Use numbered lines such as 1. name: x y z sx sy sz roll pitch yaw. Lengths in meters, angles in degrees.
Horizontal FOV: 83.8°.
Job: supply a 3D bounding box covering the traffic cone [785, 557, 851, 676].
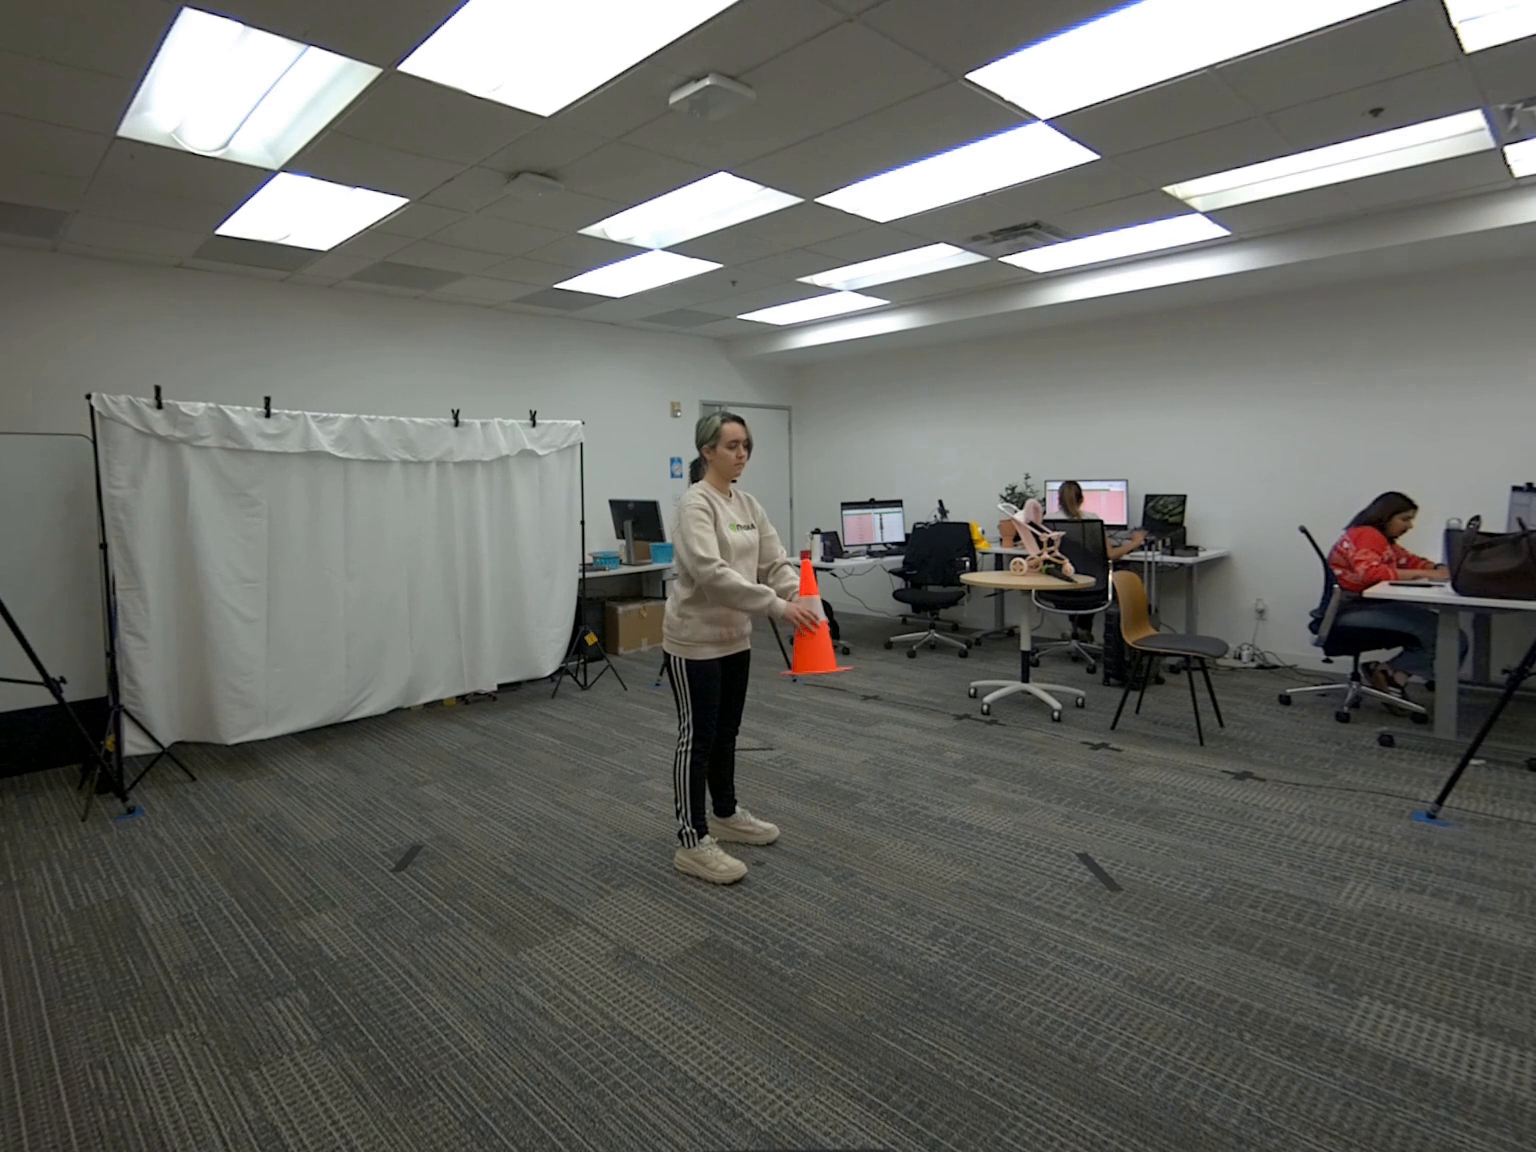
1. traffic cone: 0.136 0.118 2.946 0.199 0.385 0.208 -2 -4 -44
